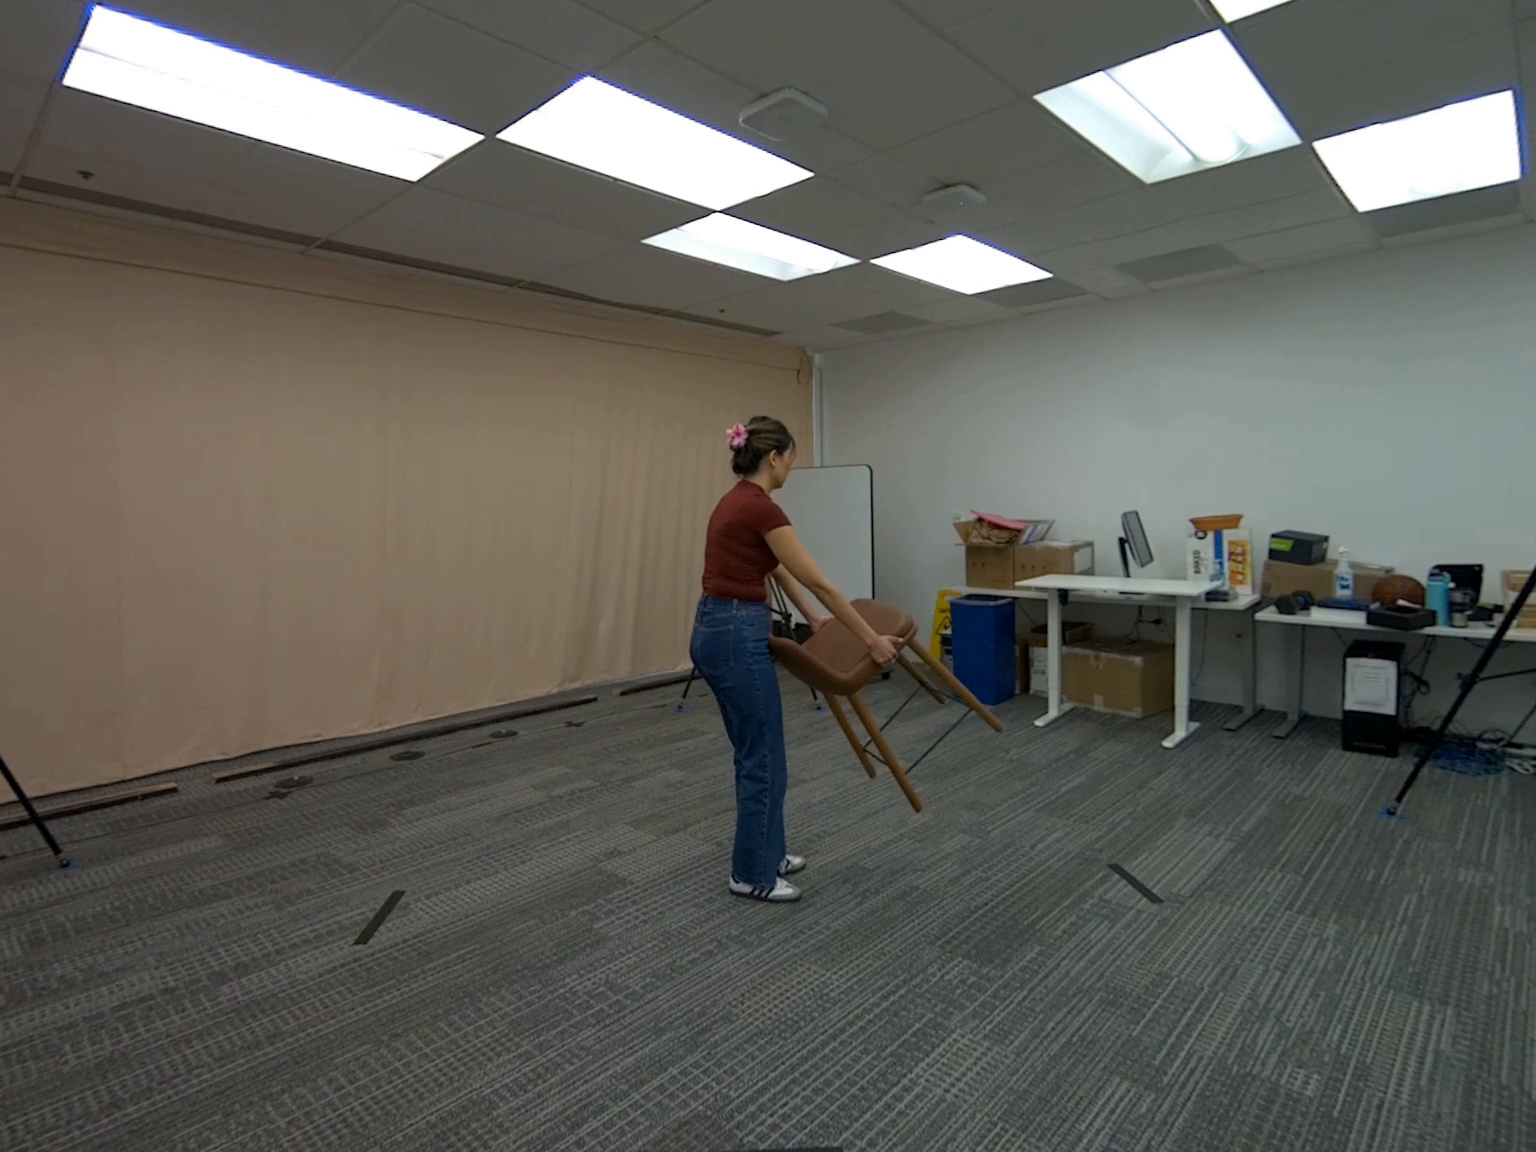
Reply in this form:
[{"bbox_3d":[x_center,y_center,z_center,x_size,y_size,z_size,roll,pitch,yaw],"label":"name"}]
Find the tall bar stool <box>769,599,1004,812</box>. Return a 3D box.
[{"bbox_3d":[0.383,0.379,3.139,0.466,0.873,0.467,-44,17,-10],"label":"tall bar stool"}]
